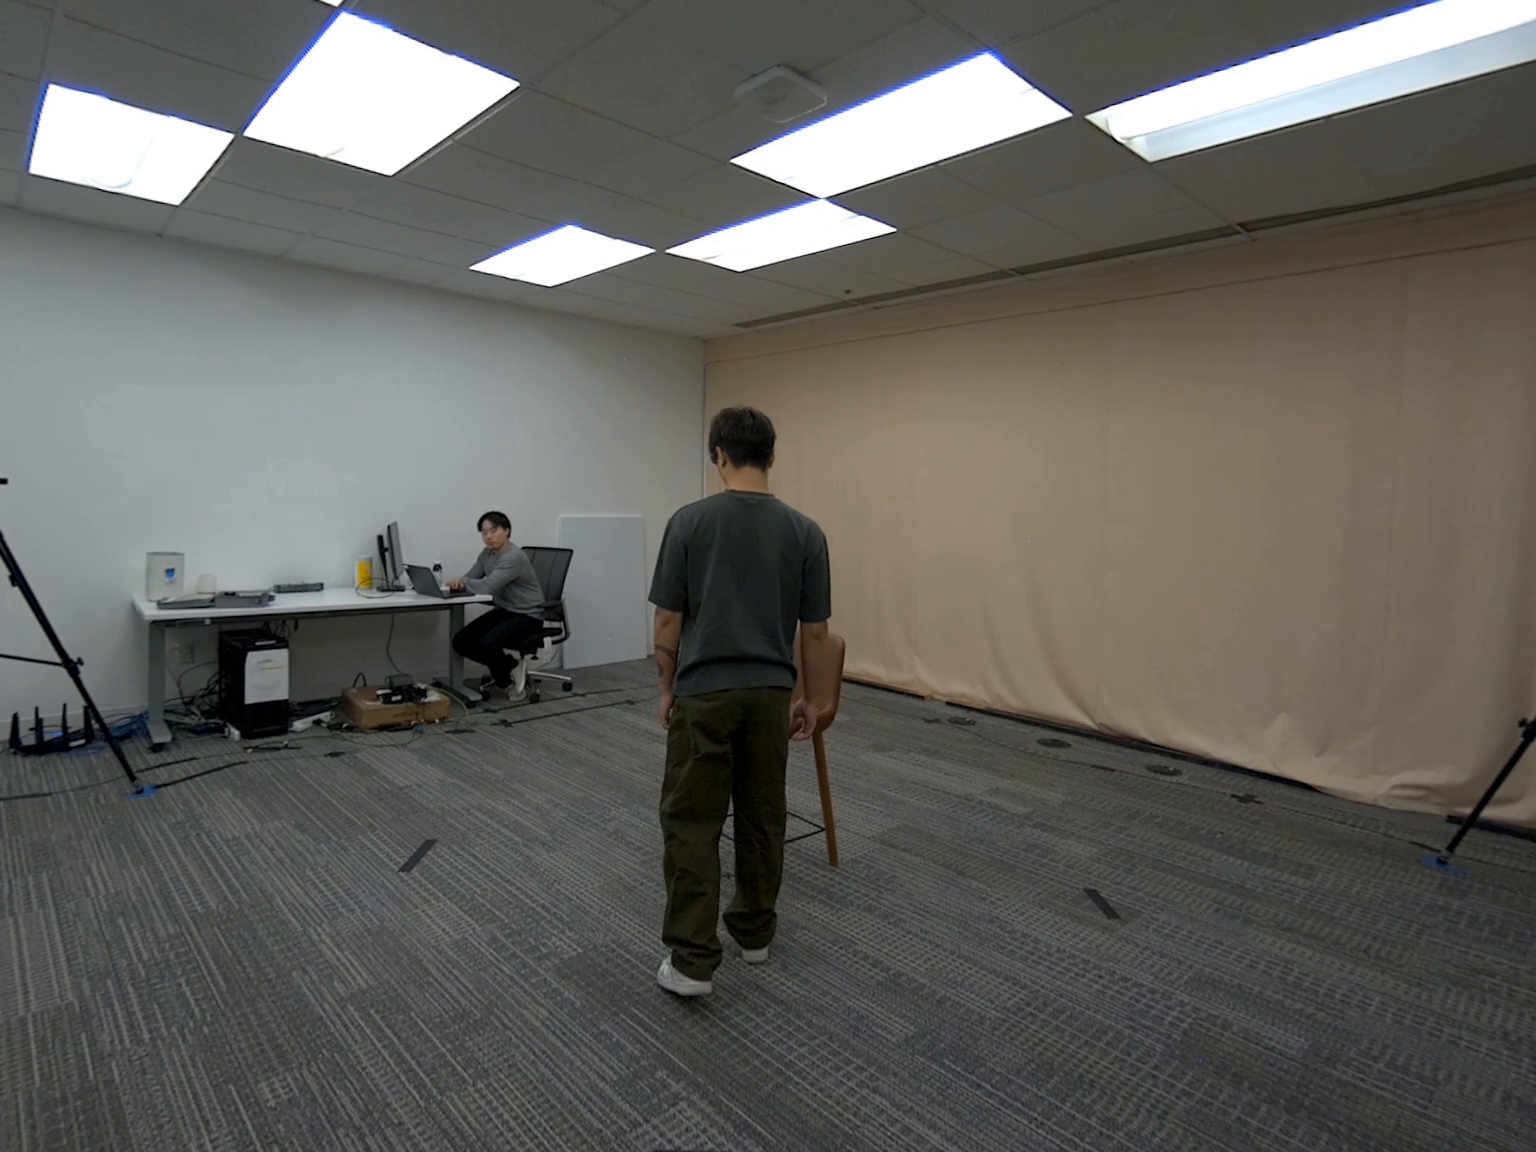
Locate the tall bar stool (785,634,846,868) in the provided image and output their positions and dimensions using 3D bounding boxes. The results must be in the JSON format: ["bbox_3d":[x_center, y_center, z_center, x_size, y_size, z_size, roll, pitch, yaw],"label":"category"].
[{"bbox_3d":[-0.006,0.668,3.214,0.456,0.888,0.468,1,3,-39],"label":"tall bar stool"}]
